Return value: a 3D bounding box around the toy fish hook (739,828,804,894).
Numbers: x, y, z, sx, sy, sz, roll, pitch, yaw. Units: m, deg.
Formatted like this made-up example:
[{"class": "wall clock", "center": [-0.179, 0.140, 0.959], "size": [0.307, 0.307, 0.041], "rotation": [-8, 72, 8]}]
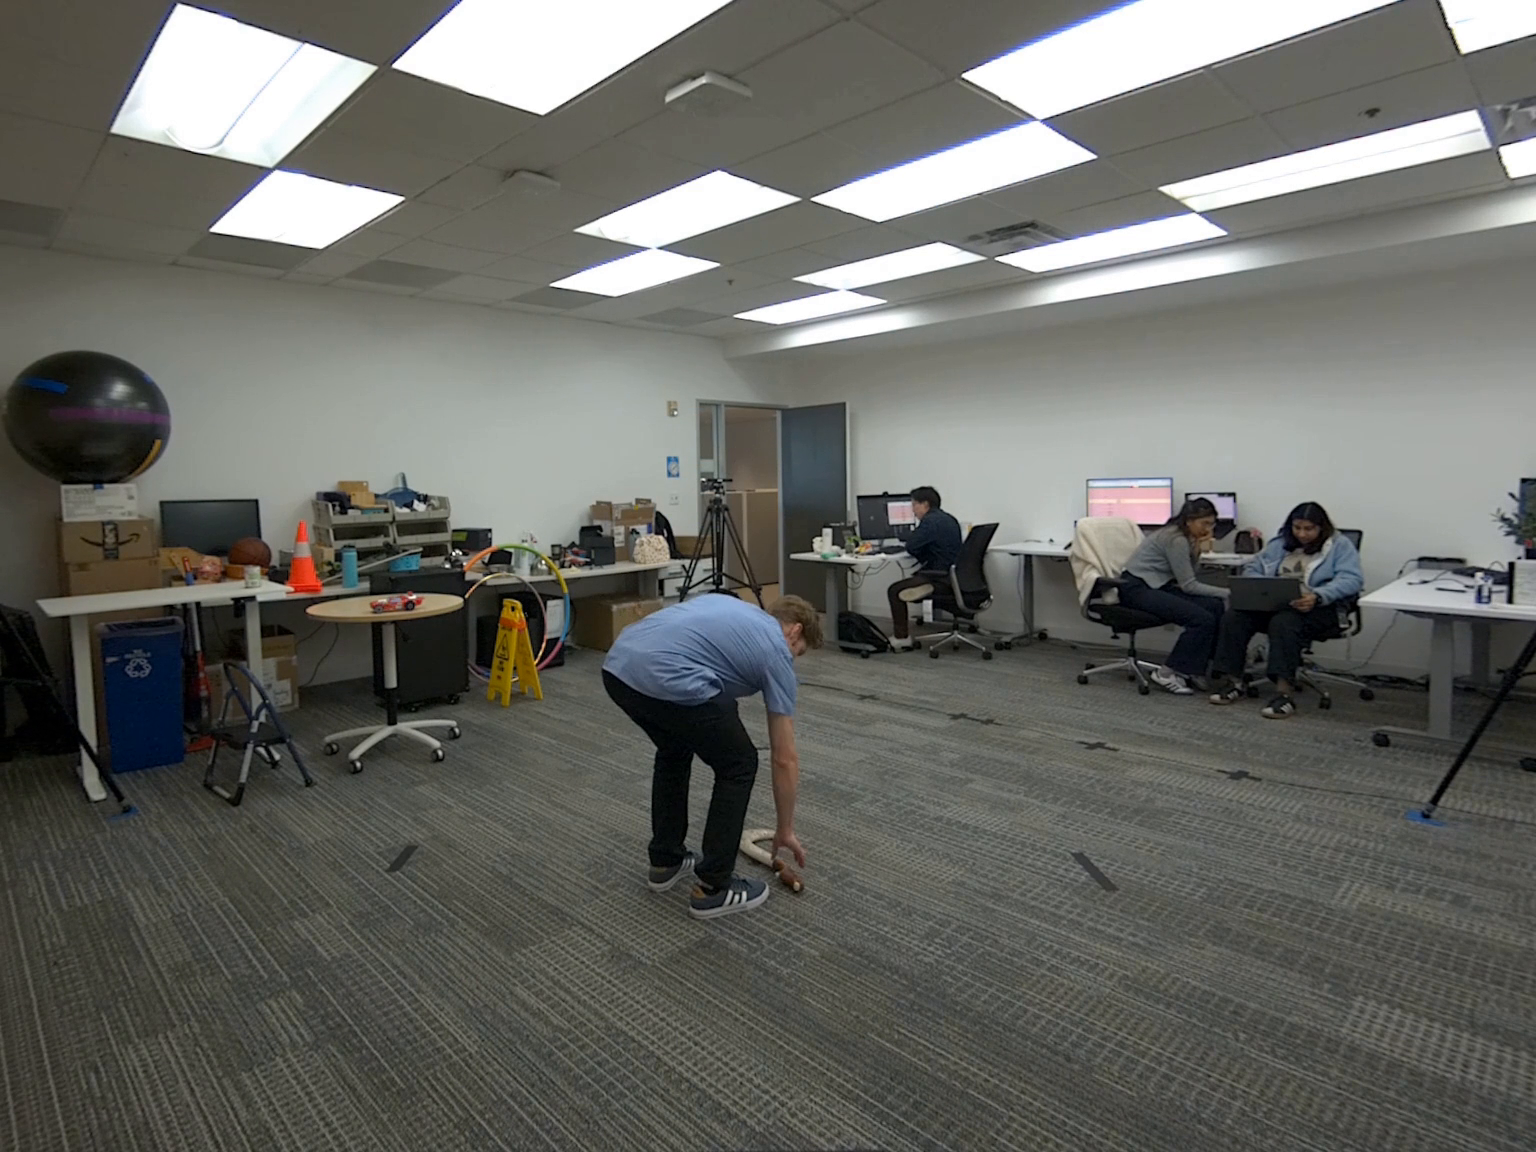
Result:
[{"class": "toy fish hook", "center": [0.051, 1.017, 3.107], "size": [0.220, 0.048, 0.519], "rotation": [-6, 8, -23]}]
